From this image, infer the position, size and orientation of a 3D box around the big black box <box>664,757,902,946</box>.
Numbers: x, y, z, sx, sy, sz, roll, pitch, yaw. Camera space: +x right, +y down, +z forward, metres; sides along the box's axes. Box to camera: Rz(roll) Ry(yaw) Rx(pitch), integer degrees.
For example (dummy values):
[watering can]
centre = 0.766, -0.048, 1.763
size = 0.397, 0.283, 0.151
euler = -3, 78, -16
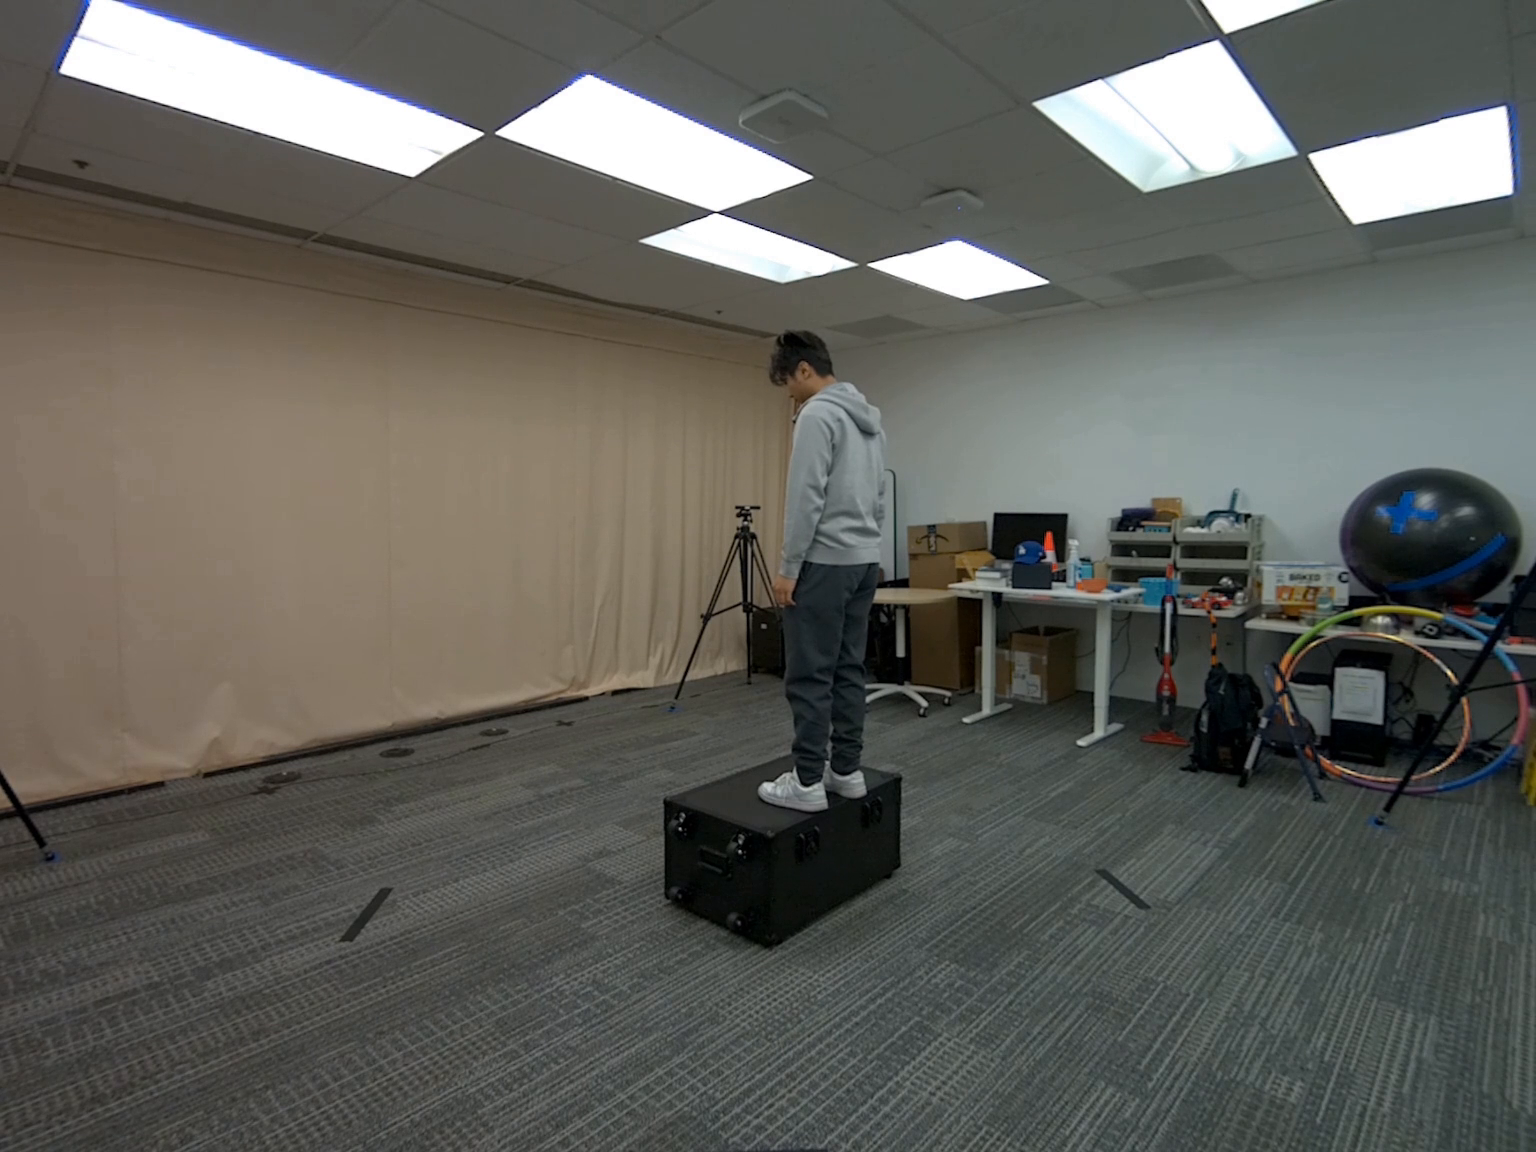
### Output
[big black box]
centre = 0.050, 0.950, 3.034
size = 0.539, 0.395, 0.835
euler = 4, 6, 41
